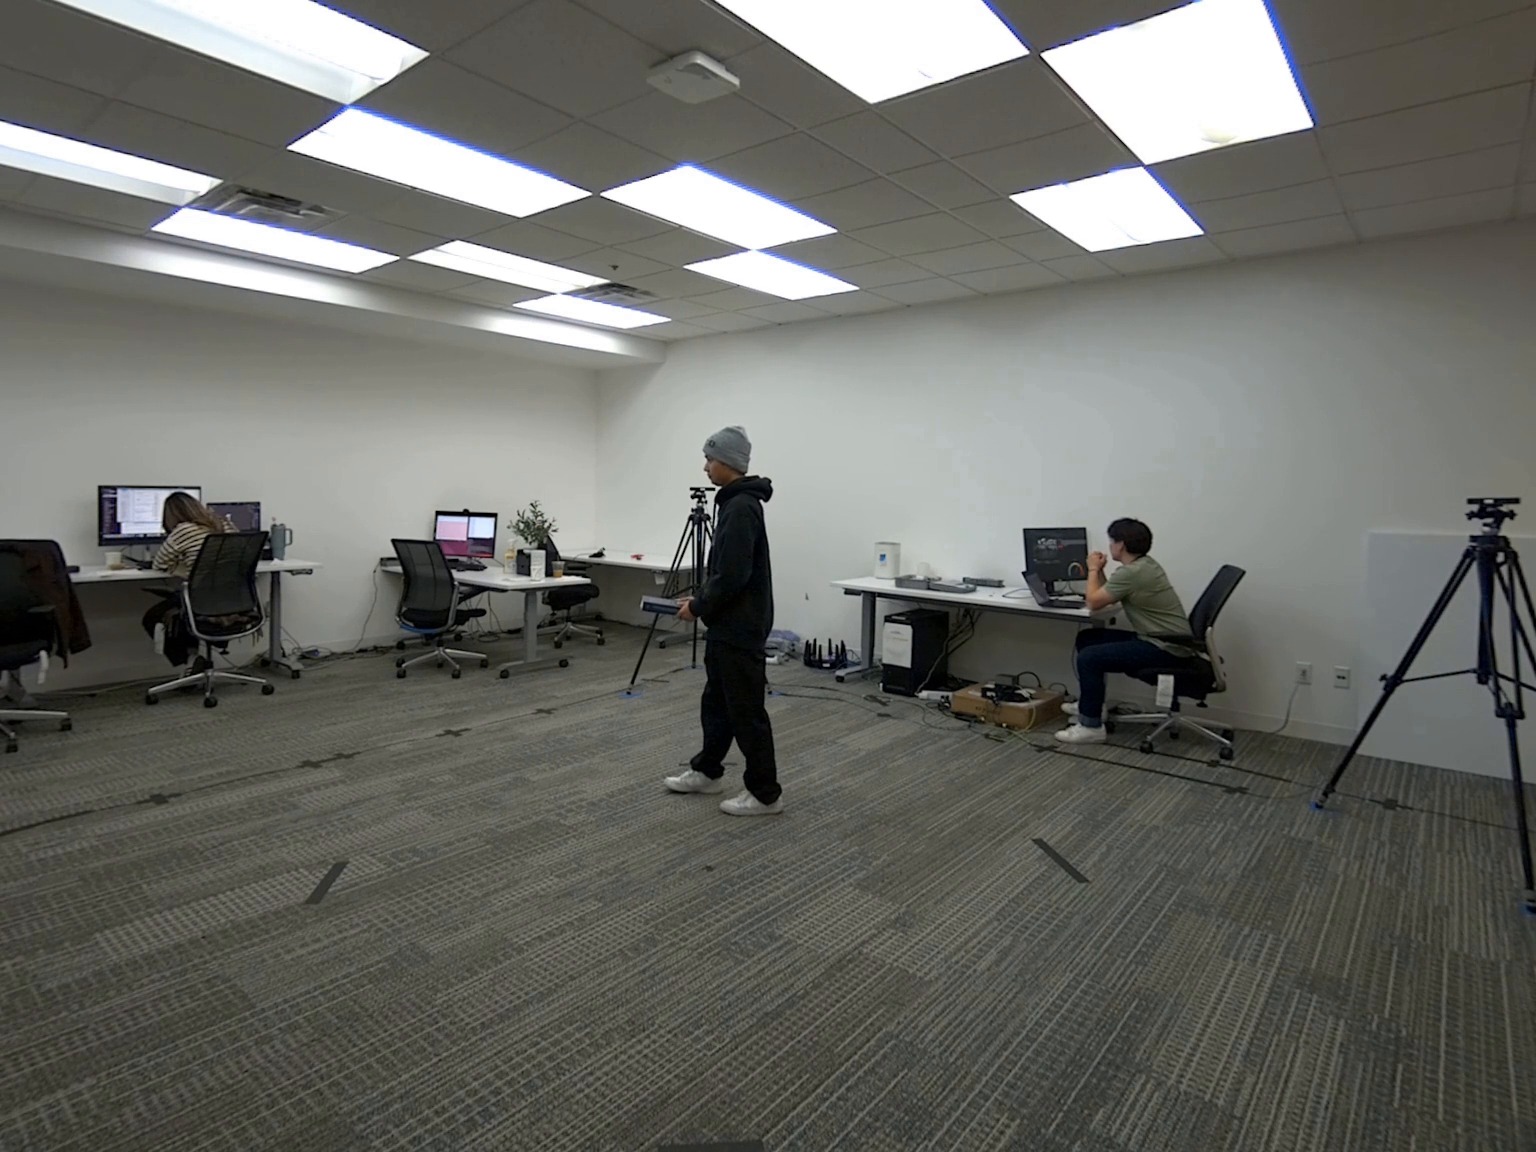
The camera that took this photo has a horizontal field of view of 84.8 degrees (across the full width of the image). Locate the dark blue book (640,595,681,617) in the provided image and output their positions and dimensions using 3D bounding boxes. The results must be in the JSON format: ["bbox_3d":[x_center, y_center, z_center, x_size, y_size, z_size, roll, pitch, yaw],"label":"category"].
[{"bbox_3d":[-0.441,0.125,3.740,0.246,0.045,0.163,7,5,4],"label":"dark blue book"}]
